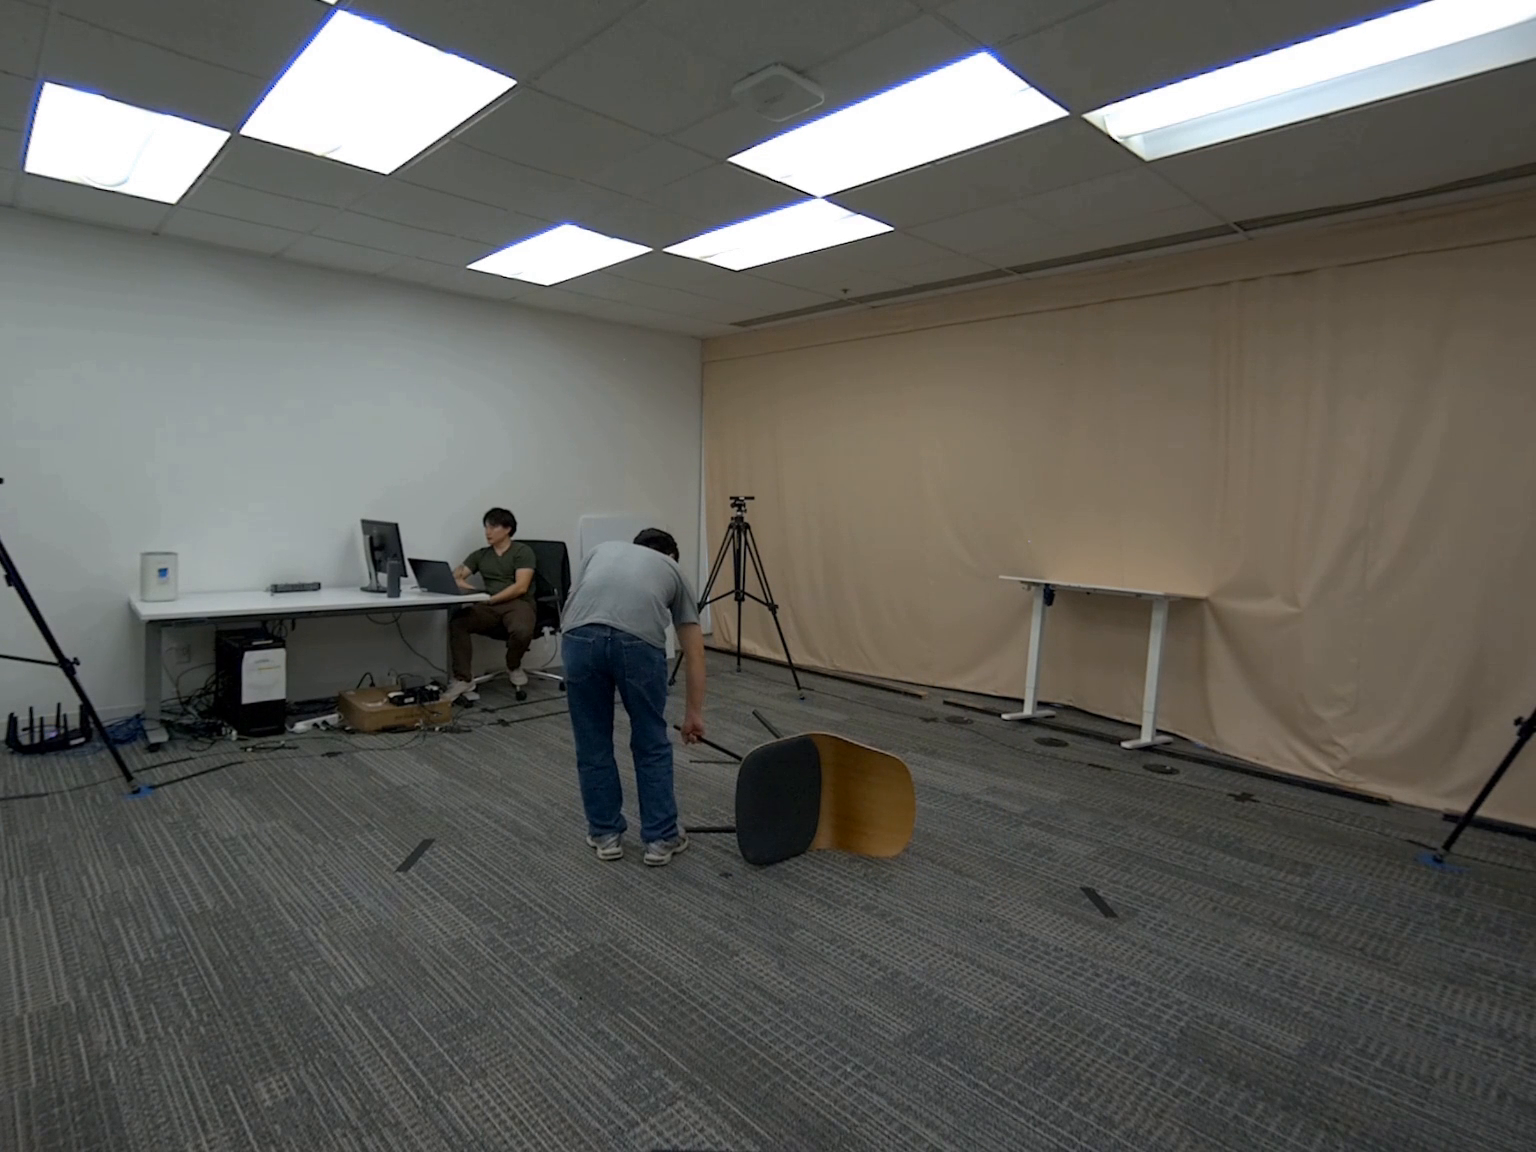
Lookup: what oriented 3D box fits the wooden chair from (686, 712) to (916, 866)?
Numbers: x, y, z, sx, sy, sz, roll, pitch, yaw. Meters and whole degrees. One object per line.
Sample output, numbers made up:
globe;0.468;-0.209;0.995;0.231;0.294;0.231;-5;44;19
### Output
wooden chair;0.047;0.859;3.314;0.899;0.477;0.511;4;5;43
